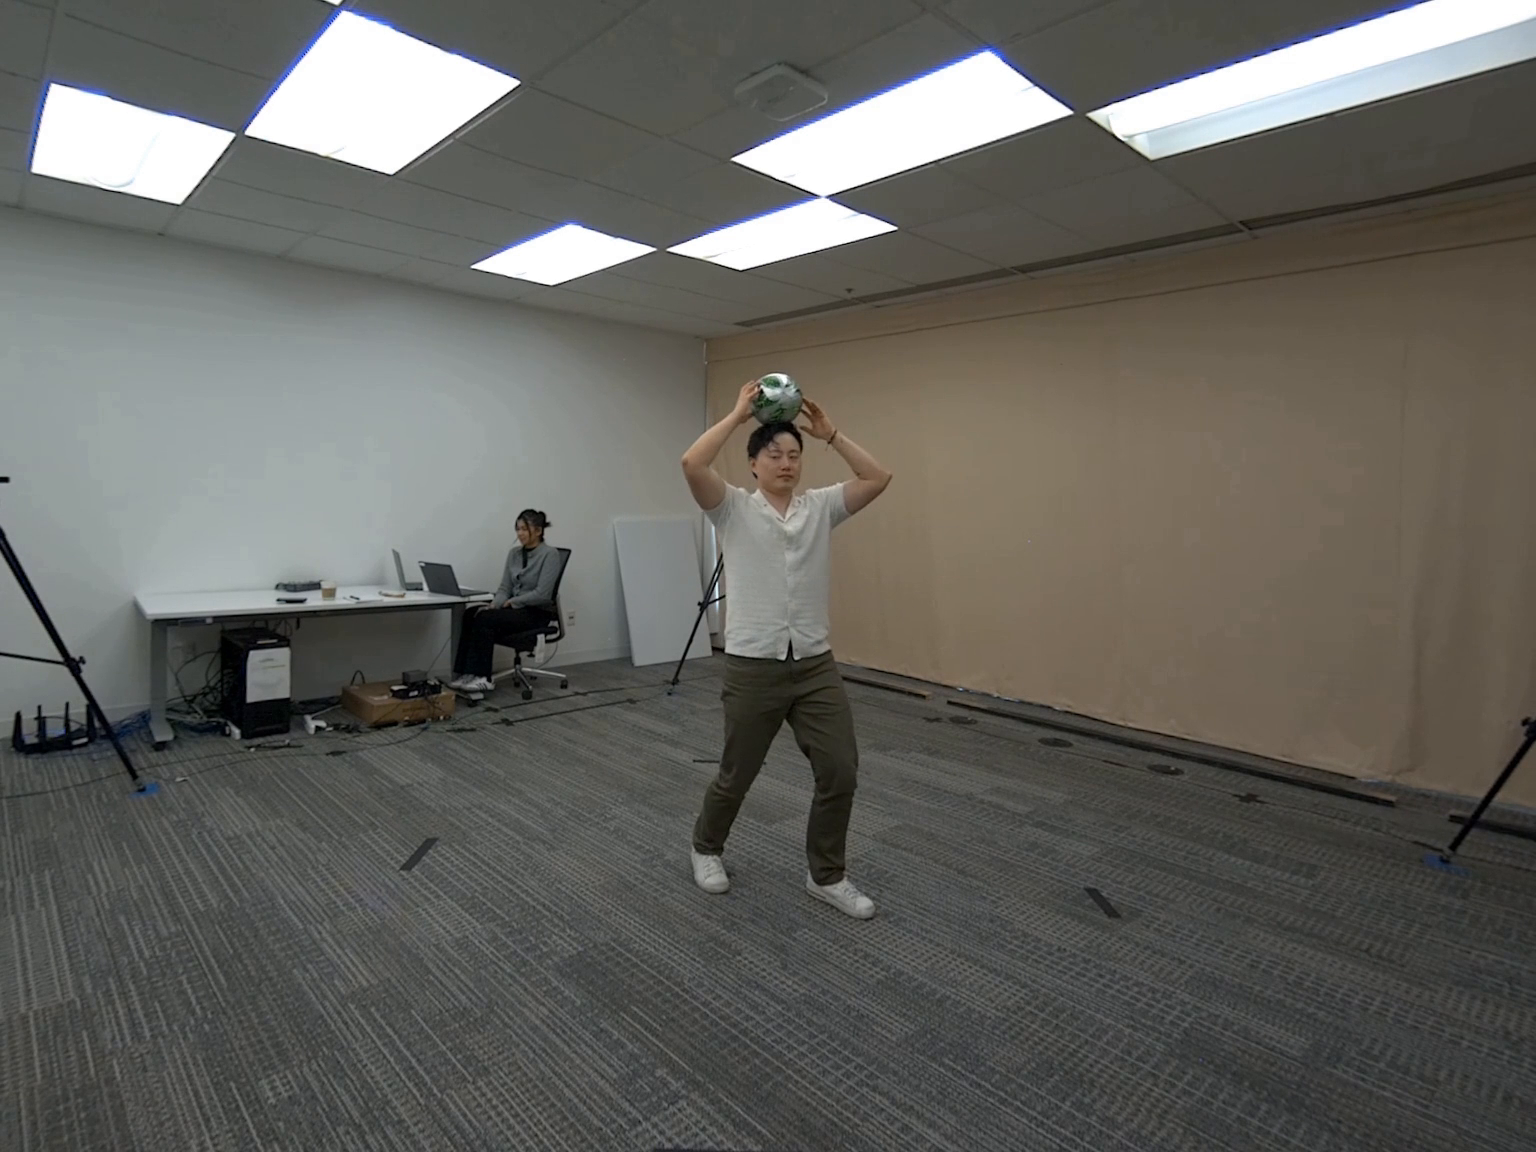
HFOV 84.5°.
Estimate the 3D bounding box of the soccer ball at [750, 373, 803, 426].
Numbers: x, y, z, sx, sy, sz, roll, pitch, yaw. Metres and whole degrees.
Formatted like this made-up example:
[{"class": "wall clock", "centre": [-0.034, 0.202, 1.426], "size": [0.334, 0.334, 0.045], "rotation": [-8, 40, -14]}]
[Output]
[{"class": "soccer ball", "centre": [0.020, -0.612, 2.934], "size": [0.187, 0.187, 0.188], "rotation": [1, 4, -1]}]
